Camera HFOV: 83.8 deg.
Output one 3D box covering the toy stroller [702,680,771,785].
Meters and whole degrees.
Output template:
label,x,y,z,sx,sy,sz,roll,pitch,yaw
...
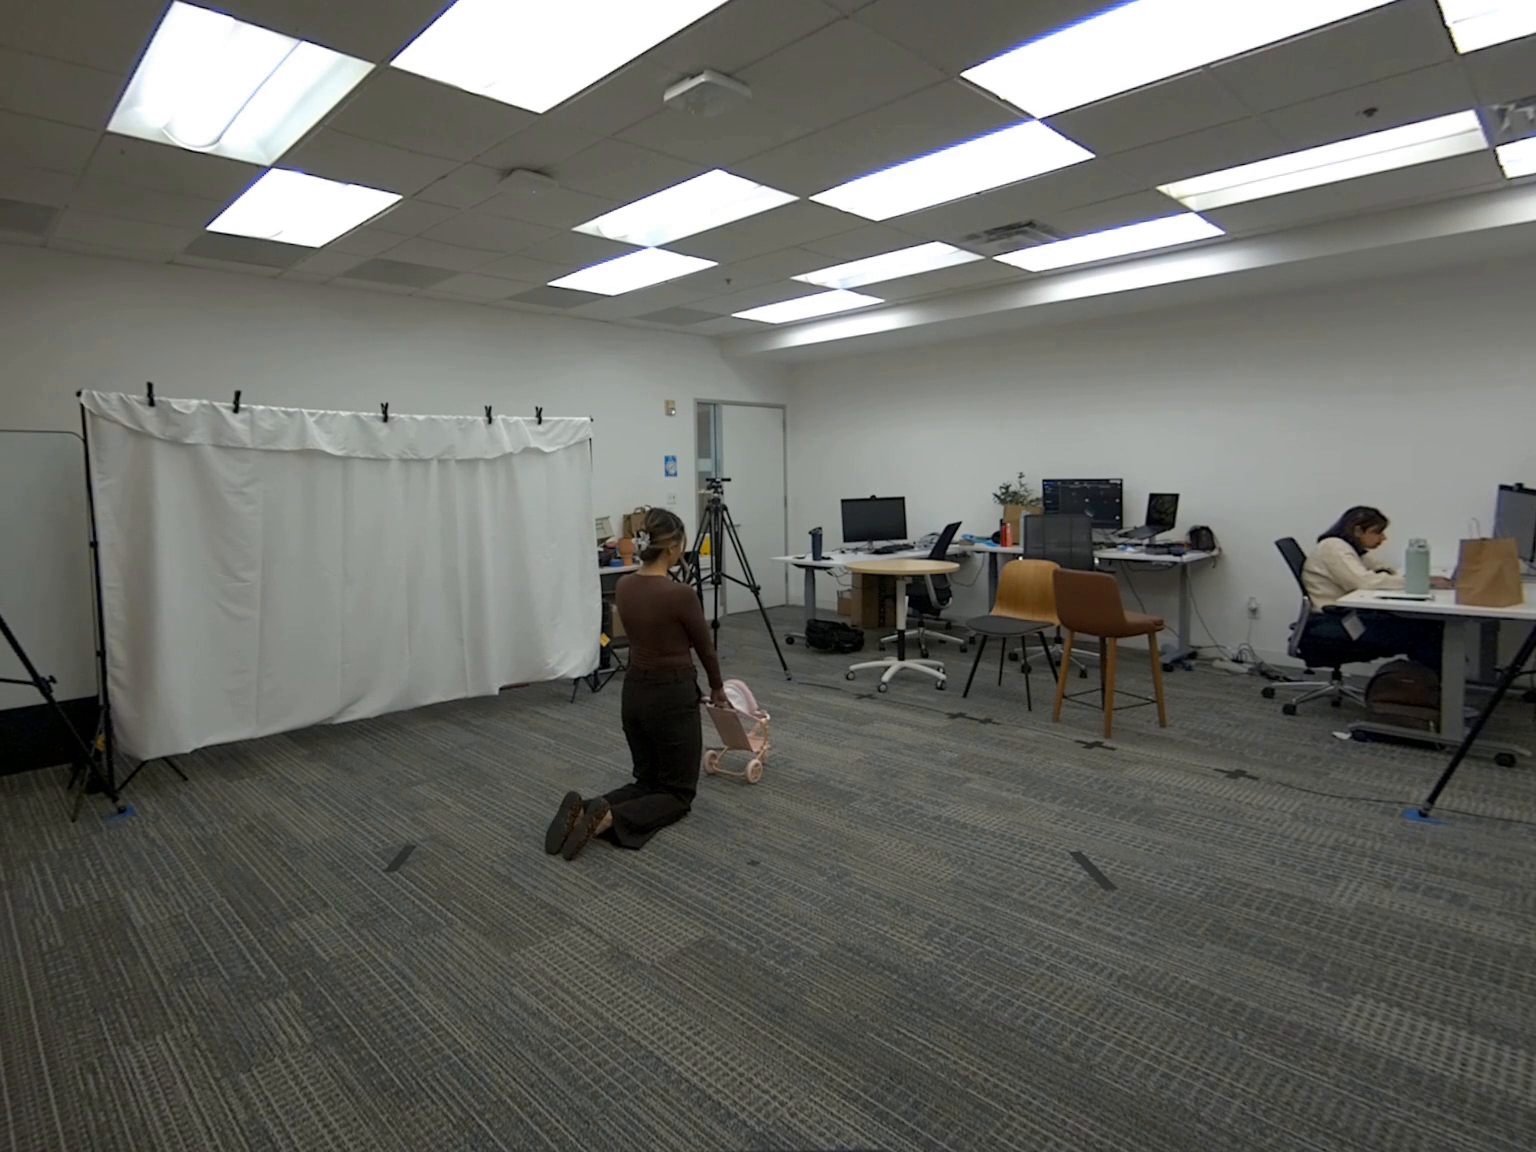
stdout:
label,x,y,z,sx,sy,sz,roll,pitch,yaw
toy stroller,-0.137,0.717,4.030,0.290,0.525,0.337,3,23,39
